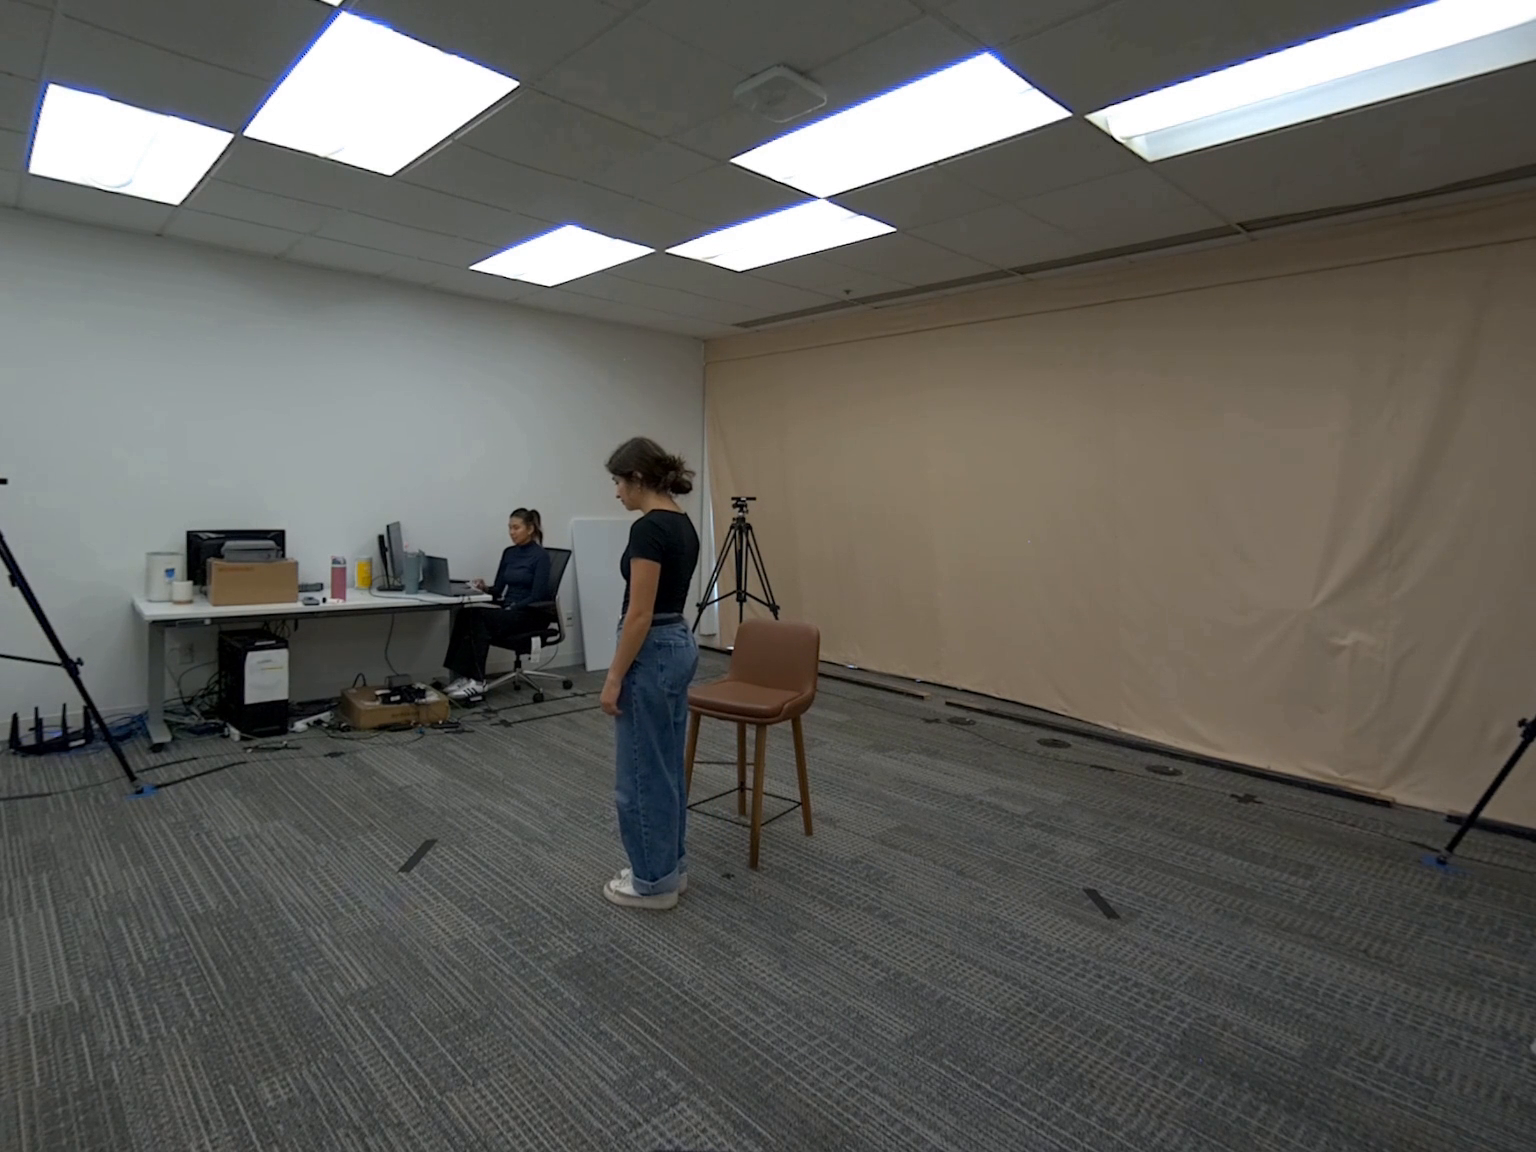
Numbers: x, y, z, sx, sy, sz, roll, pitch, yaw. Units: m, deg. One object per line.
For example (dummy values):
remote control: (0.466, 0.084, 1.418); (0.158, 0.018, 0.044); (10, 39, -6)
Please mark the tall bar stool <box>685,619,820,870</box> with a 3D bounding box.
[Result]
tall bar stool: (-0.080, 0.646, 3.431); (0.467, 0.889, 0.457); (4, 2, 36)
